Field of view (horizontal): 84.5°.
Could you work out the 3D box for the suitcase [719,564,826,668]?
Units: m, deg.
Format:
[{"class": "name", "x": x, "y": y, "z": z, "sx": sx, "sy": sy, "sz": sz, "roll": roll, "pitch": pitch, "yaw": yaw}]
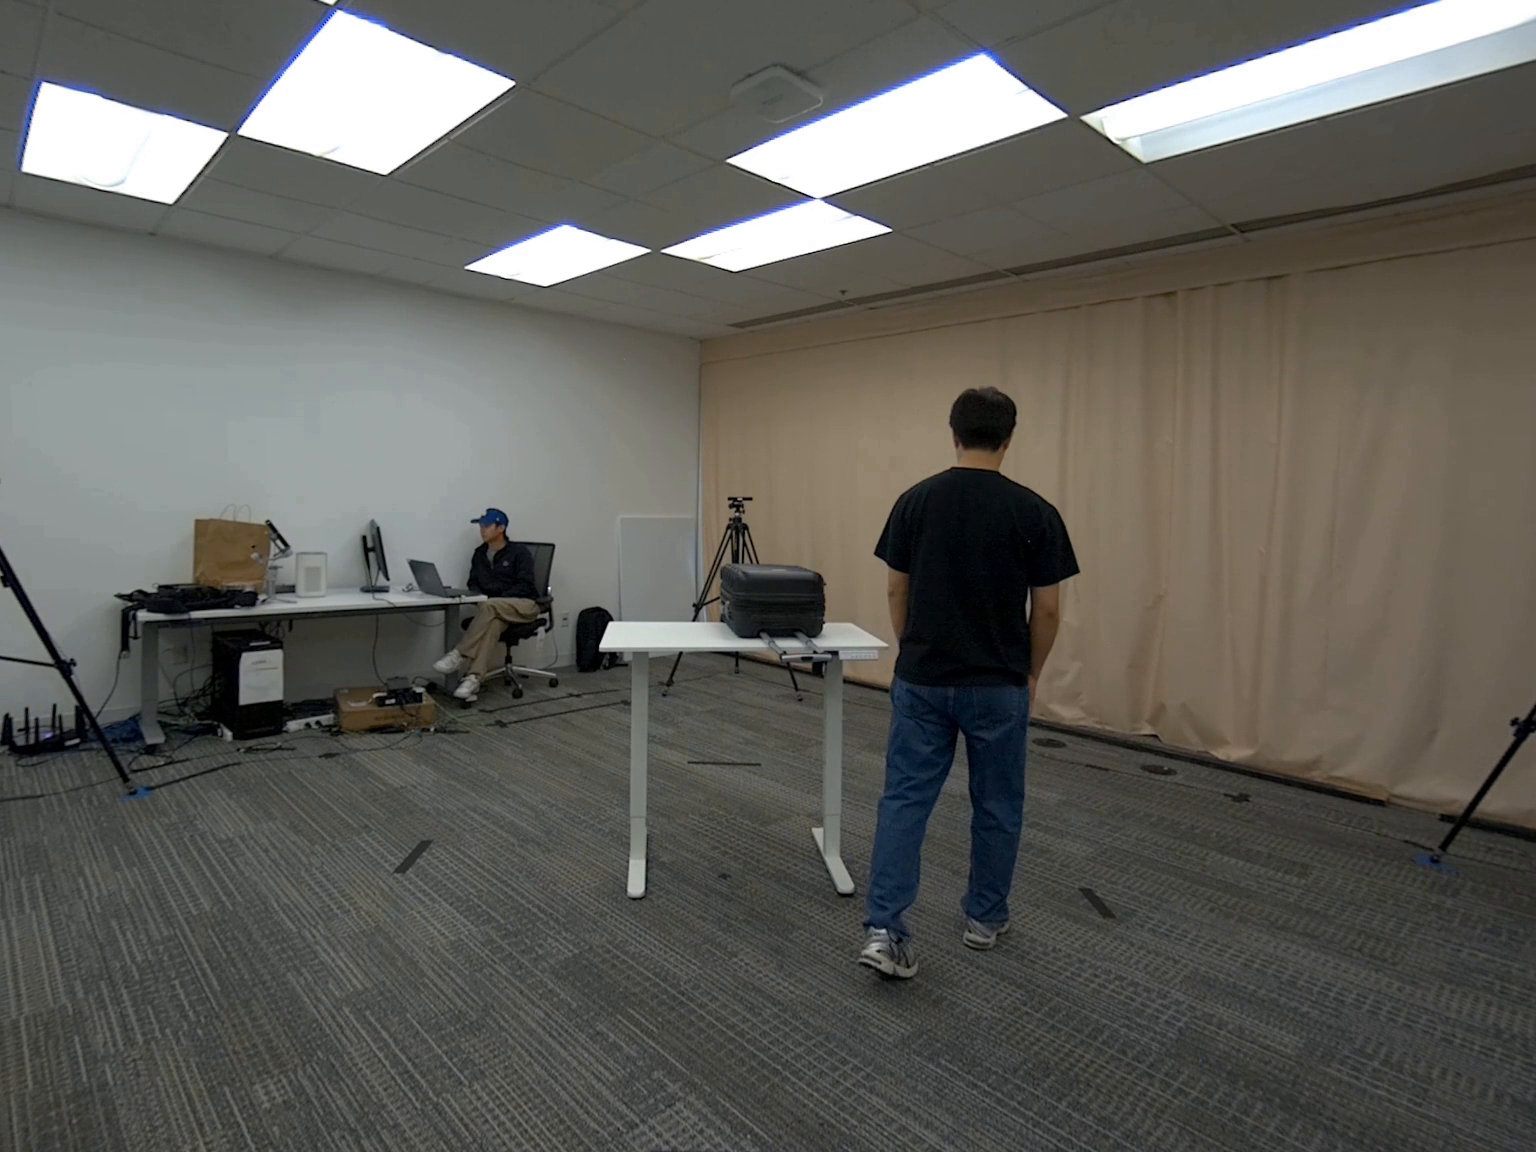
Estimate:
[{"class": "suitcase", "x": 0.036, "y": 0.104, "z": 3.098, "sx": 0.381, "sy": 0.257, "sz": 0.987, "roll": 1, "pitch": 2, "yaw": -10}]
